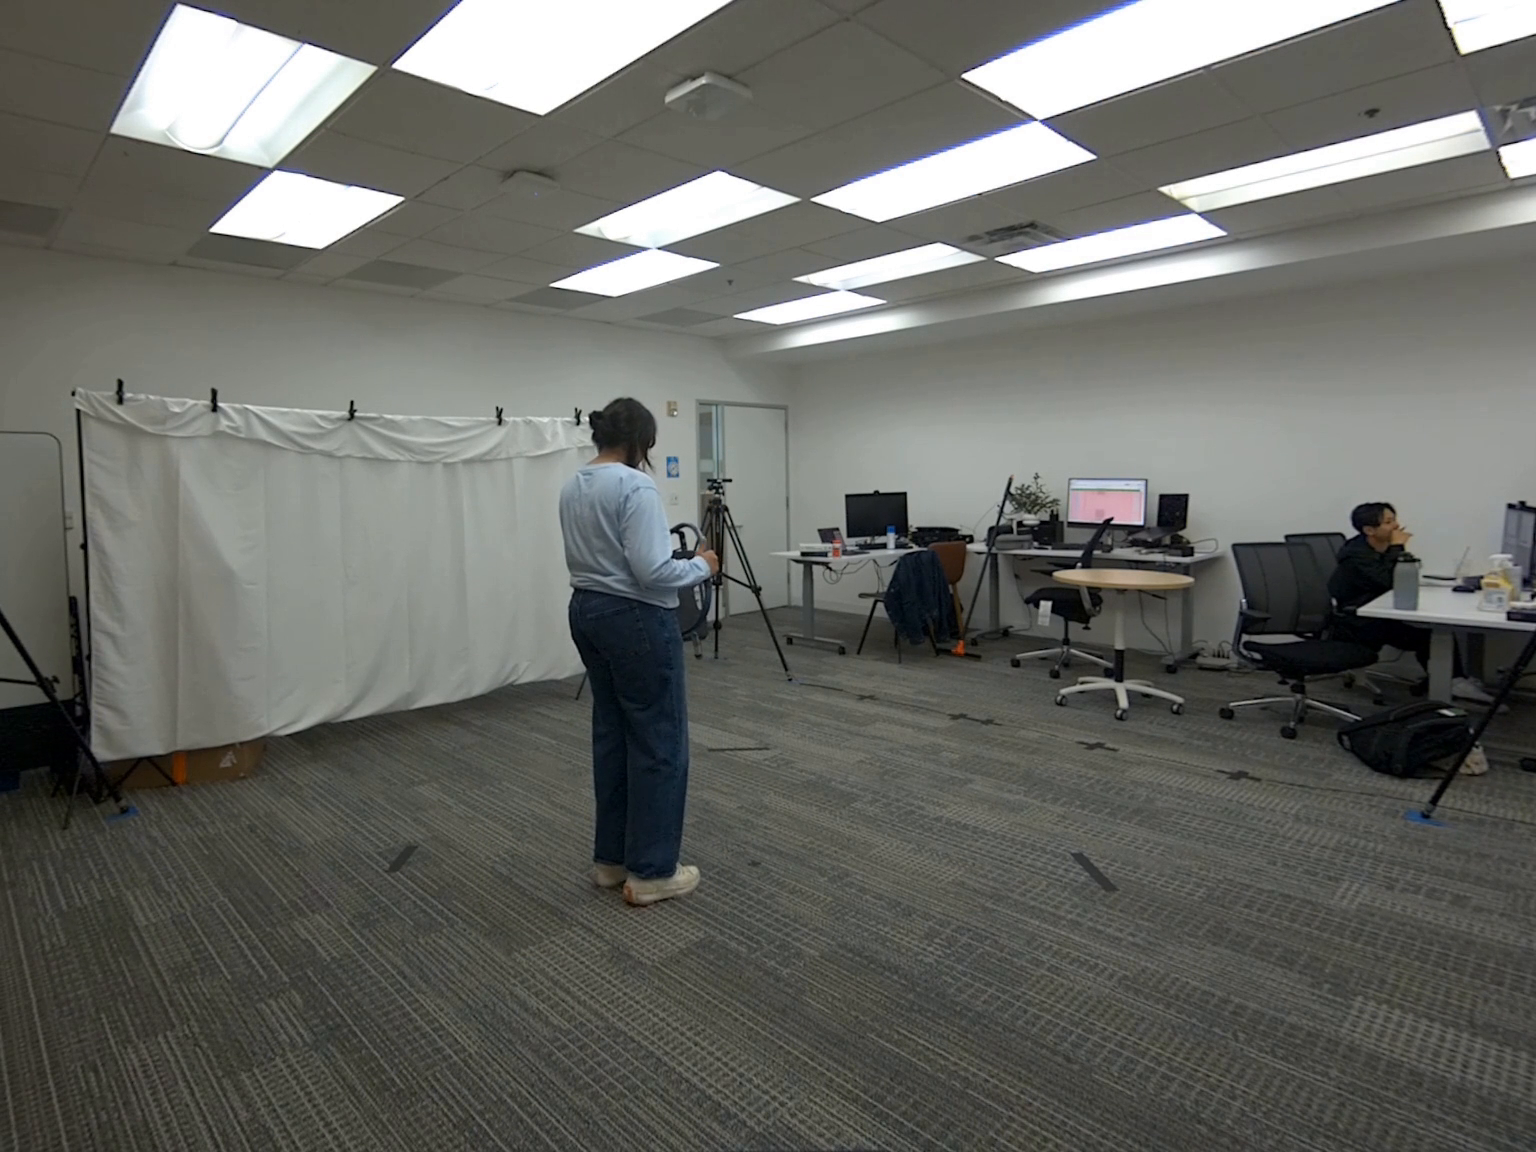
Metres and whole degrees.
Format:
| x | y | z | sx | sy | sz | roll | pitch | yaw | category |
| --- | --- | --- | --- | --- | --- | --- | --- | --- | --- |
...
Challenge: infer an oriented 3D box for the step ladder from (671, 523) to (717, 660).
| x | y | z | sx | sy | sz | roll | pitch | yaw | category |
| --- | --- | --- | --- | --- | --- | --- | --- | --- | --- |
| -0.363 | 0.058 | 3.213 | 0.343 | 0.438 | 0.605 | -1 | -18 | -19 | step ladder |
